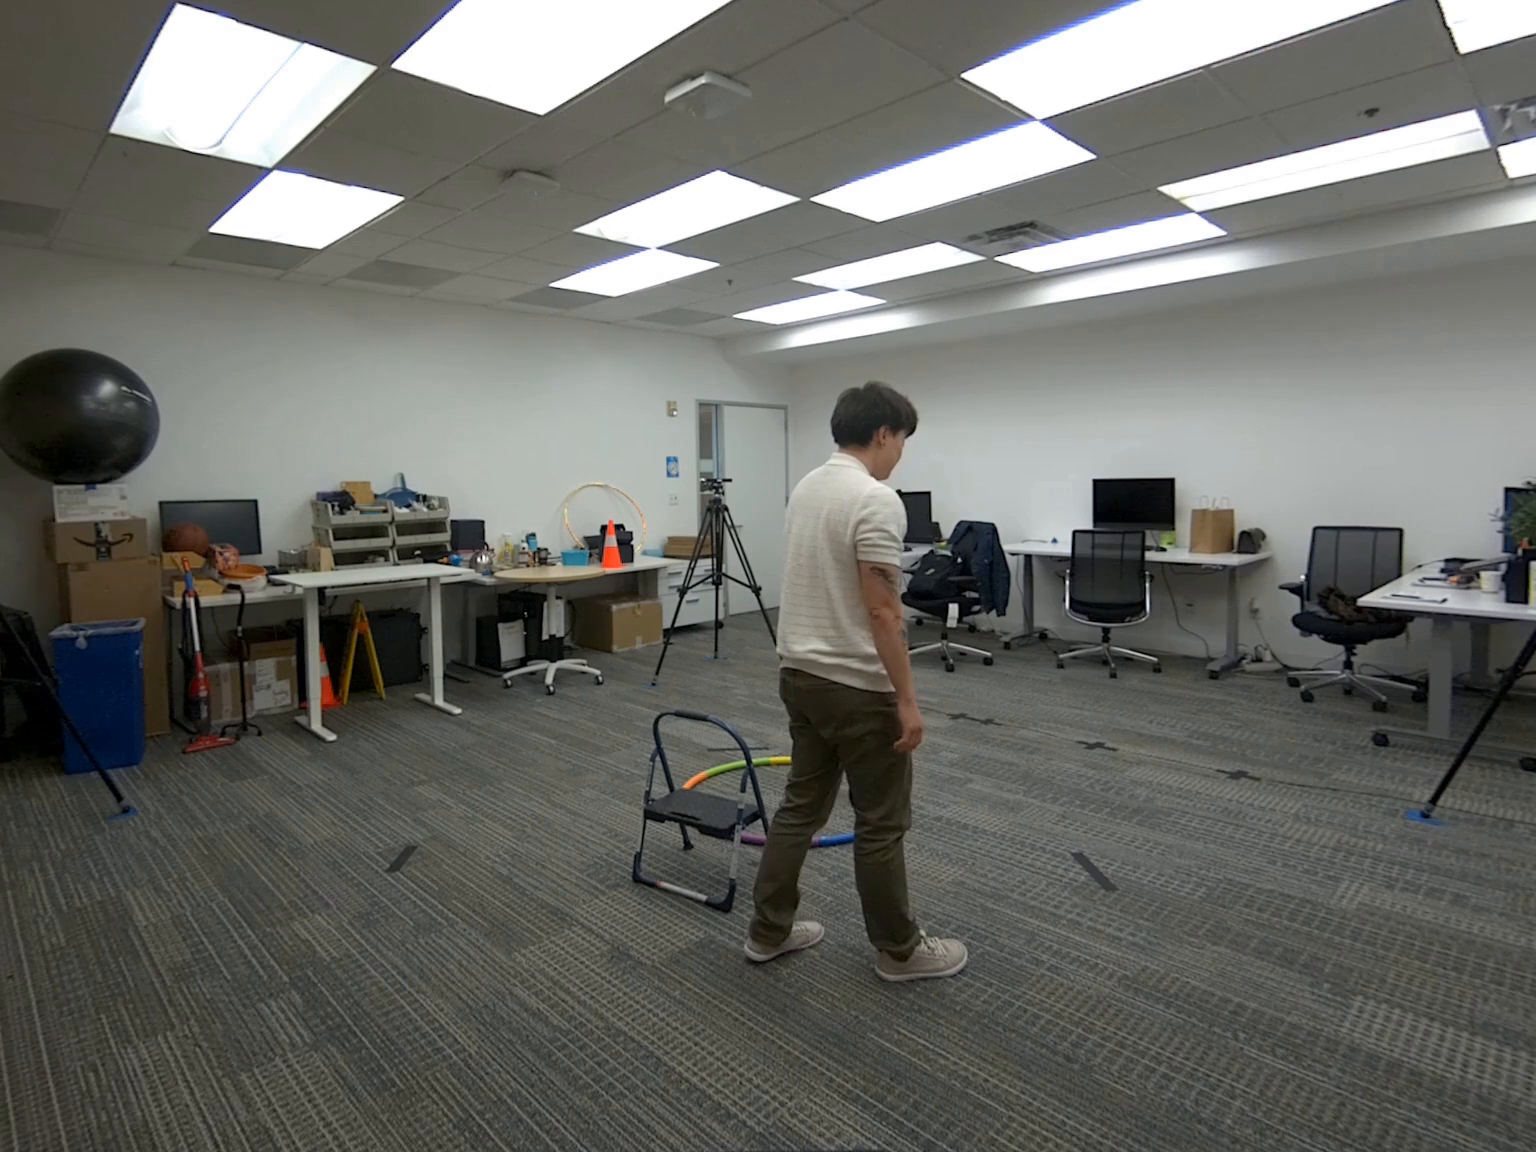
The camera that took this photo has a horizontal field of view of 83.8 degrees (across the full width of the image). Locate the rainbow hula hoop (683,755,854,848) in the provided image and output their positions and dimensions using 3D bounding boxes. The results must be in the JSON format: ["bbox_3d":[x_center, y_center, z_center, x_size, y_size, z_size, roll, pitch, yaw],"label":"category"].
[{"bbox_3d":[0.101,0.944,3.715,0.978,0.035,0.984,-1,6,-2],"label":"rainbow hula hoop"}]
